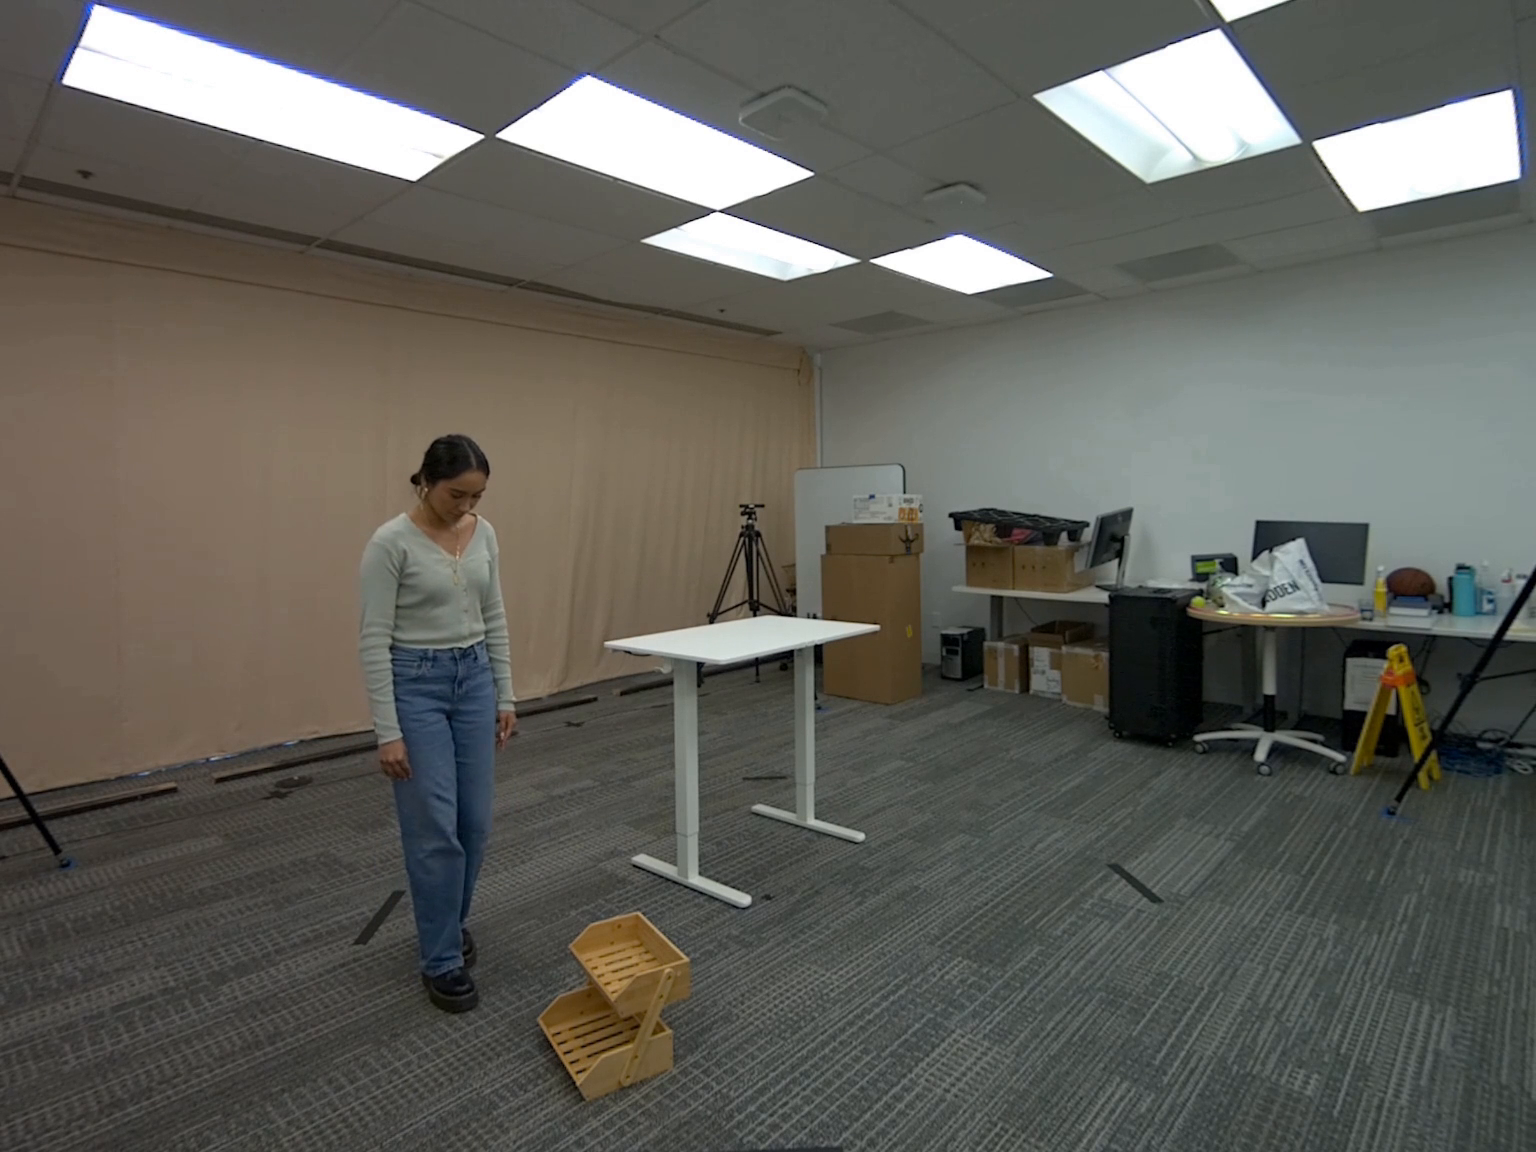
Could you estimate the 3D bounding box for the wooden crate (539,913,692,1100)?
[{"bbox_3d":[-0.402,1.087,2.156,0.293,0.273,0.334,-3,3,-33],"label":"wooden crate"}]
